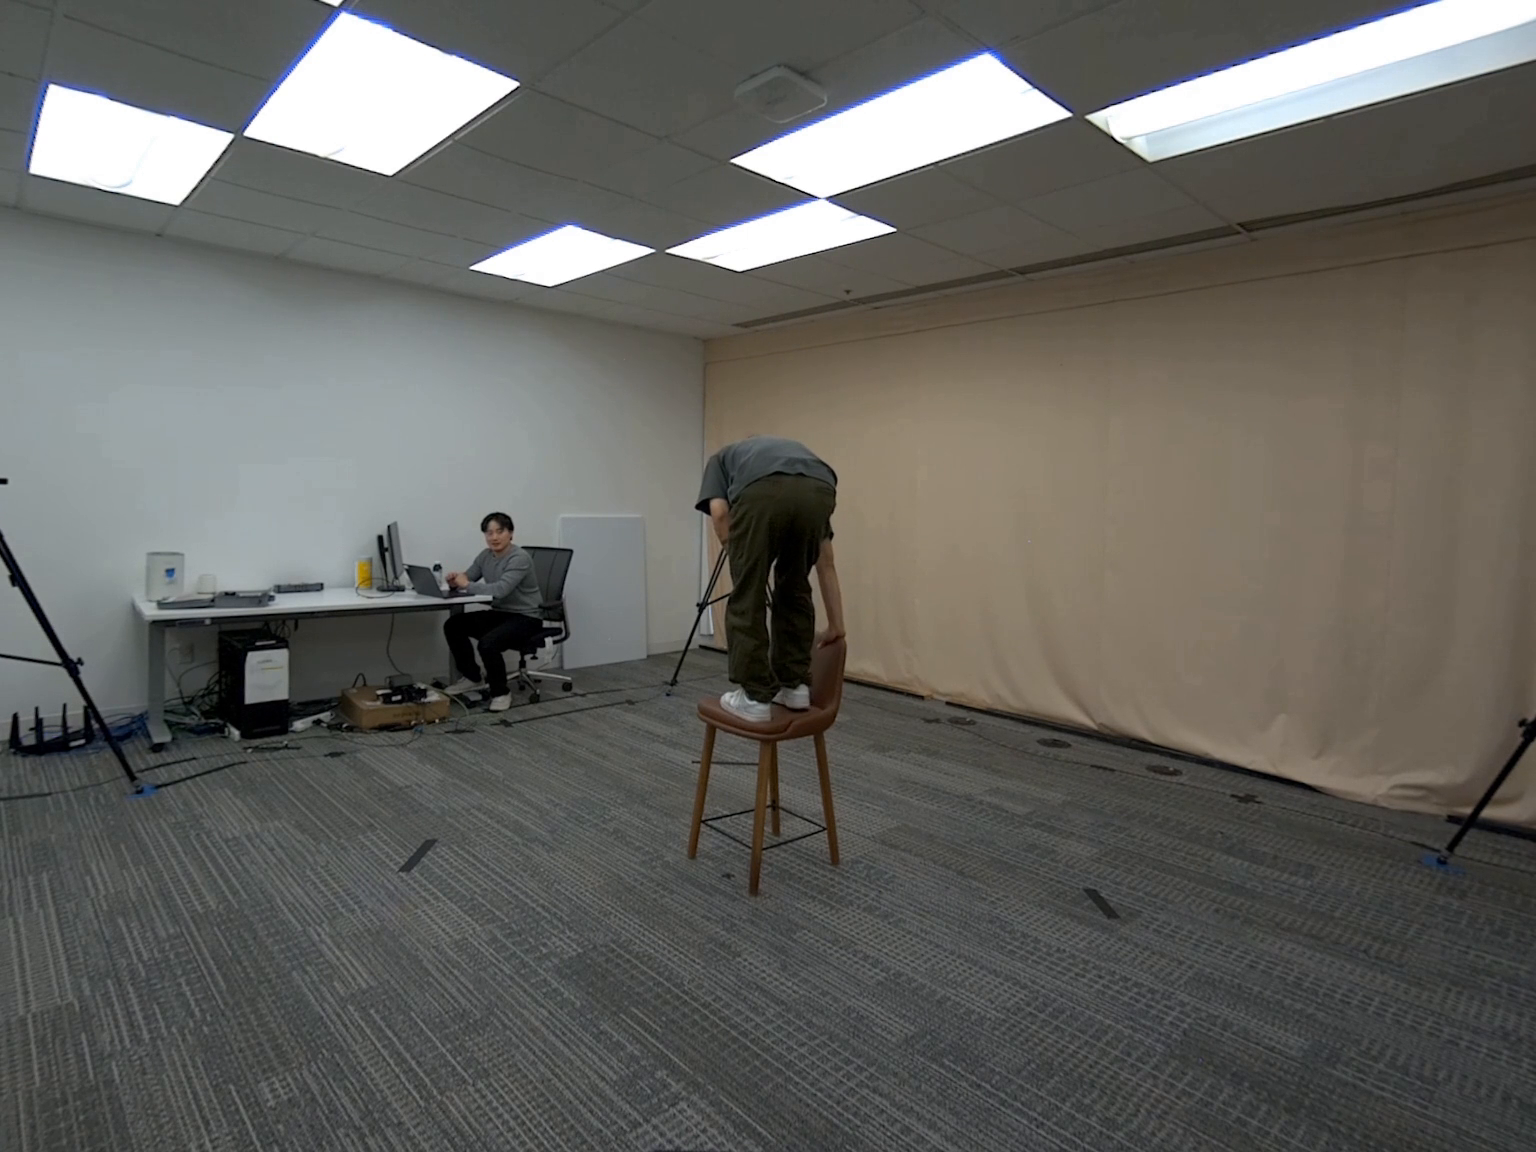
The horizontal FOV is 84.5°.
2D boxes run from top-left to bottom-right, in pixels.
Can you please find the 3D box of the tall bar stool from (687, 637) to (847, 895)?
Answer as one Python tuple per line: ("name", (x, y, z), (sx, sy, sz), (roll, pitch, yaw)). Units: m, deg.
("tall bar stool", (-0.001, 0.663, 3.221), (0.456, 0.889, 0.468), (1, 2, -39))
